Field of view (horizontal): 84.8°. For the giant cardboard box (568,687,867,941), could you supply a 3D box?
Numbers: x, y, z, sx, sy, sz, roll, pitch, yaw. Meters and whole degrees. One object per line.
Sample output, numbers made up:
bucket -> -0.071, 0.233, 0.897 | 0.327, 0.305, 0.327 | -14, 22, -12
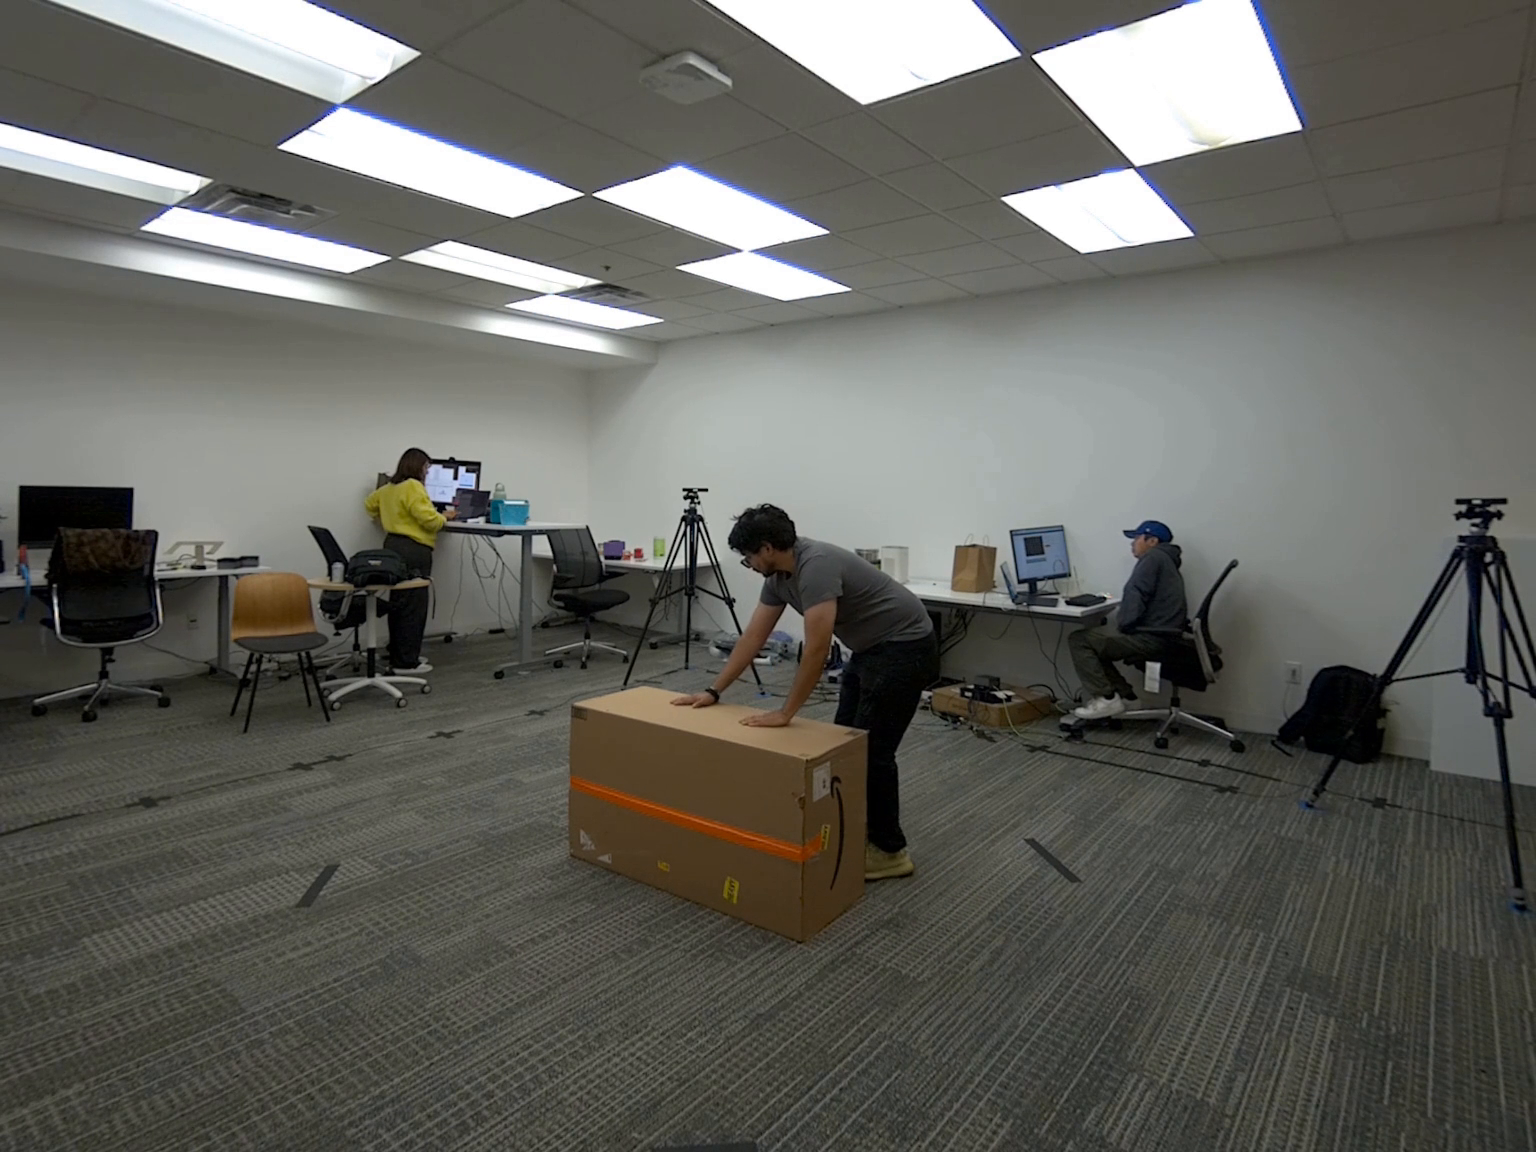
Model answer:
giant cardboard box -> -0.214, 0.786, 3.056 | 1.059, 0.576, 0.414 | 5, 5, 35
